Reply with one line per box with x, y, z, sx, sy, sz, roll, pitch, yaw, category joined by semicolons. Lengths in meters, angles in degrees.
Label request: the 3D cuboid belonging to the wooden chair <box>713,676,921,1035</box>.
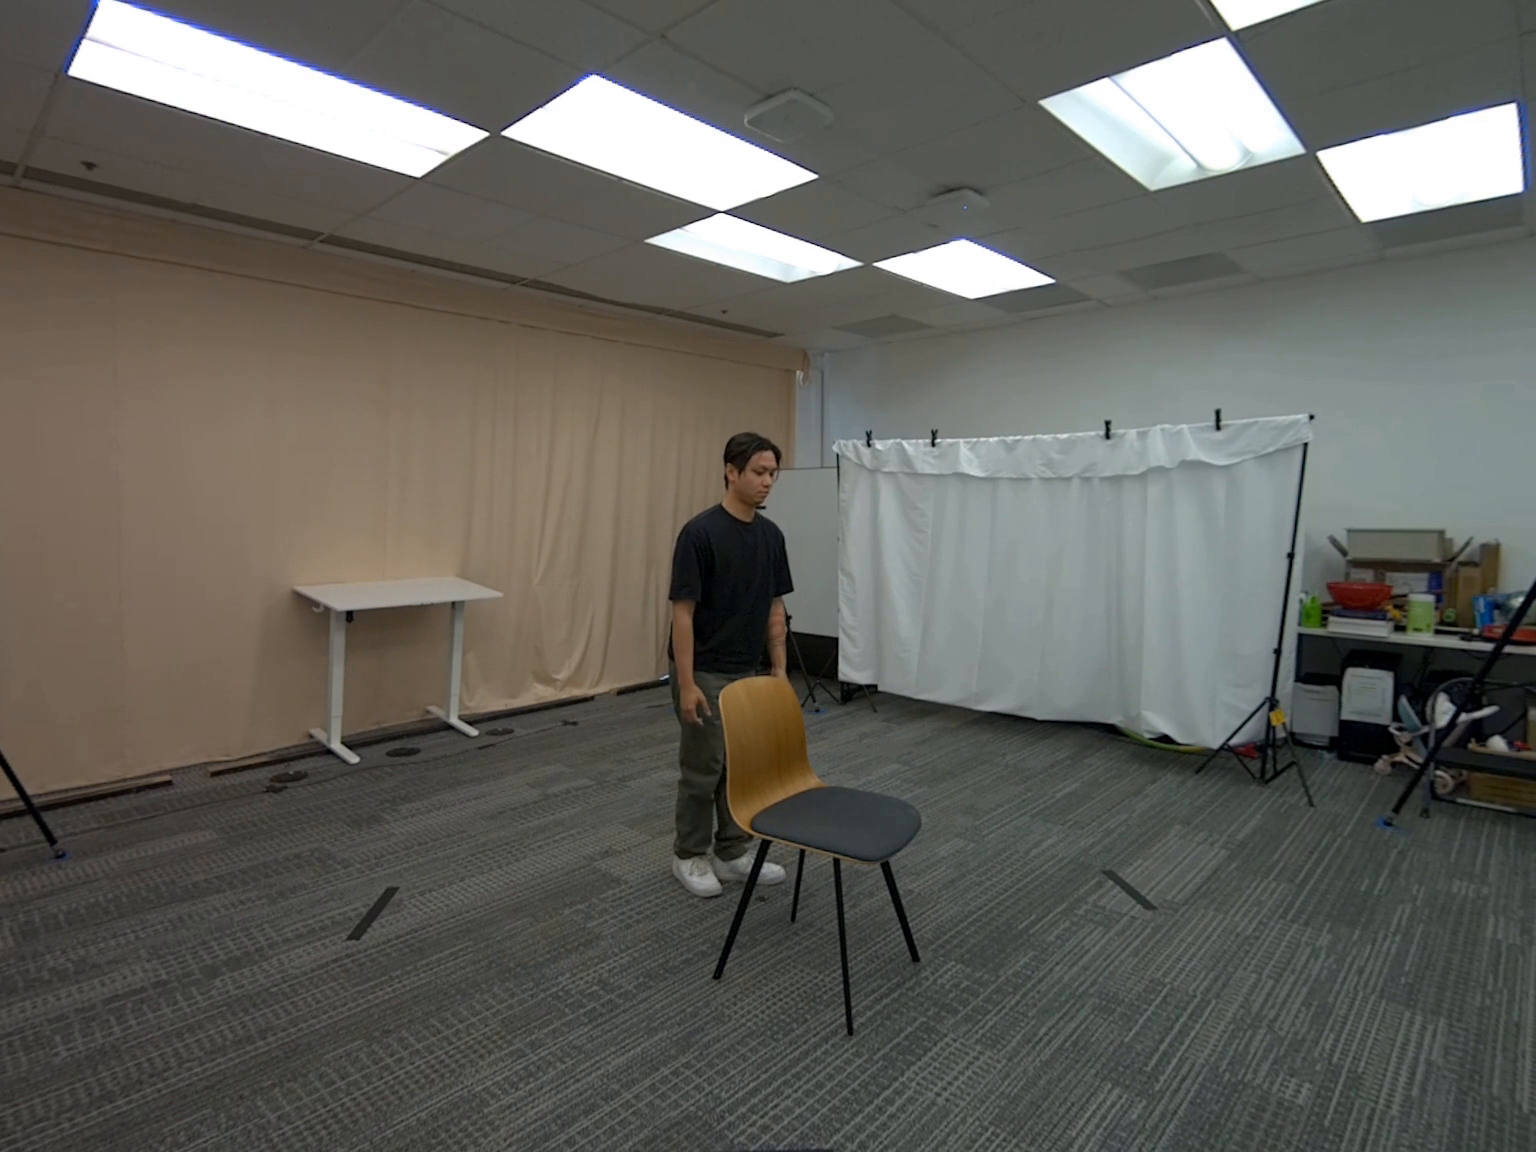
0.165;0.759;2.487;0.538;0.877;0.464;-3;0;34;wooden chair
